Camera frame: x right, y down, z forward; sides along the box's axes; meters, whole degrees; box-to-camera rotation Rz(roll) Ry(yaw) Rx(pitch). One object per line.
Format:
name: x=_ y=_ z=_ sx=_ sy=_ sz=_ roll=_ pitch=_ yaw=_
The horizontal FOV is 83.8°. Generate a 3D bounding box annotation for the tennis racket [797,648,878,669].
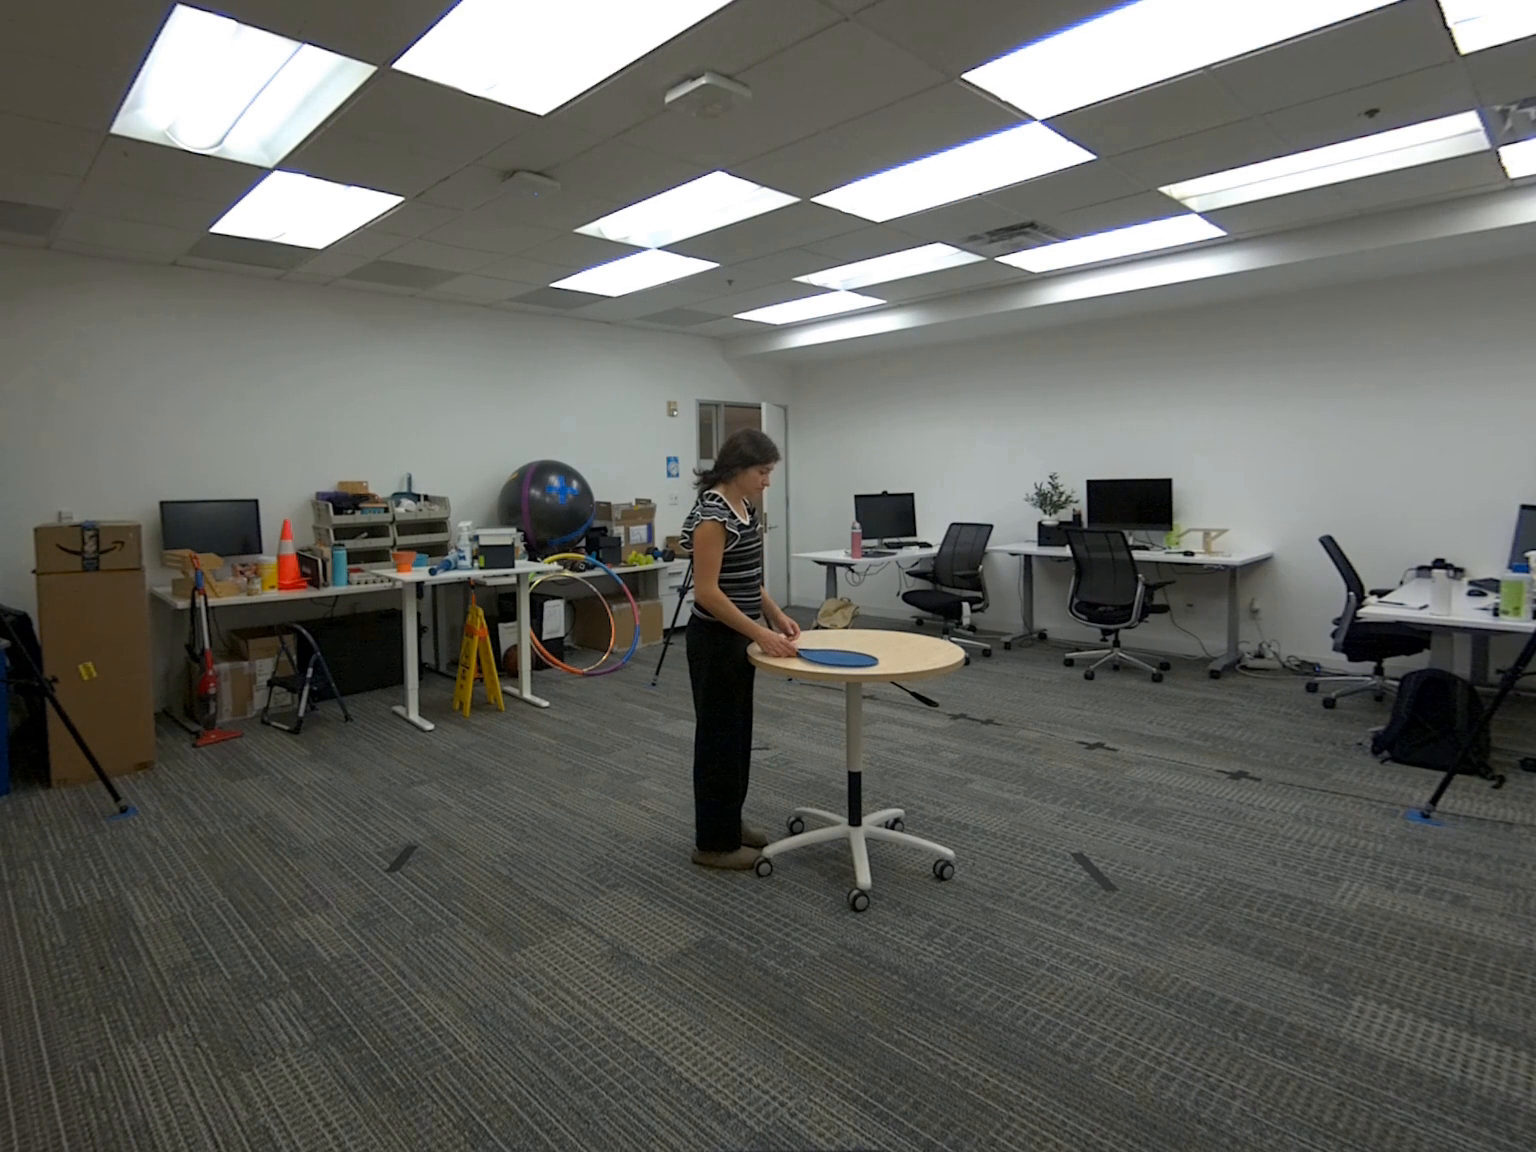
tennis racket: x=0.176 y=0.270 z=2.908 sx=0.445 sy=0.031 sz=0.209 roll=4 pitch=6 yaw=31
